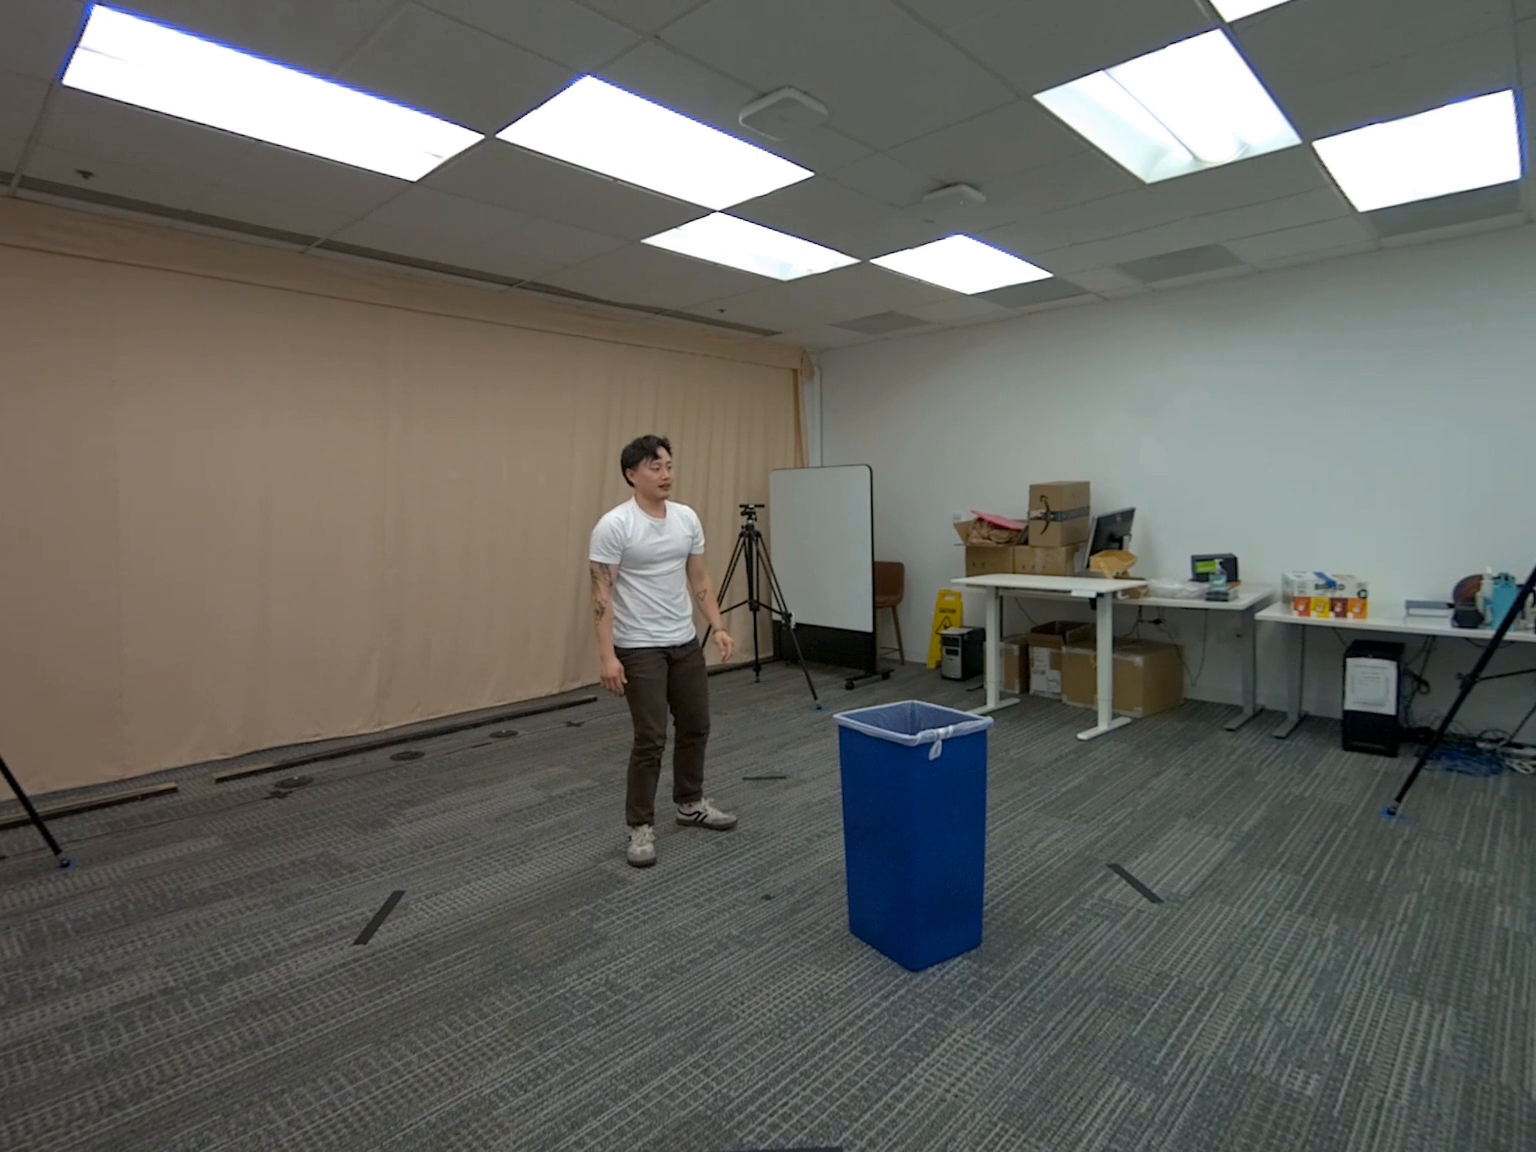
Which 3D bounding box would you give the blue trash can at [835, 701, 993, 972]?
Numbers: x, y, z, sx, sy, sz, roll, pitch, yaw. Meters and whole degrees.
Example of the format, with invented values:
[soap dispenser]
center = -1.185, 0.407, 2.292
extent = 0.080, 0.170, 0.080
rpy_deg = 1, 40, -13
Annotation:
[blue trash can]
center = 0.469, 0.799, 2.674
extent = 0.363, 0.712, 0.389
rpy_deg = -3, 3, -34
